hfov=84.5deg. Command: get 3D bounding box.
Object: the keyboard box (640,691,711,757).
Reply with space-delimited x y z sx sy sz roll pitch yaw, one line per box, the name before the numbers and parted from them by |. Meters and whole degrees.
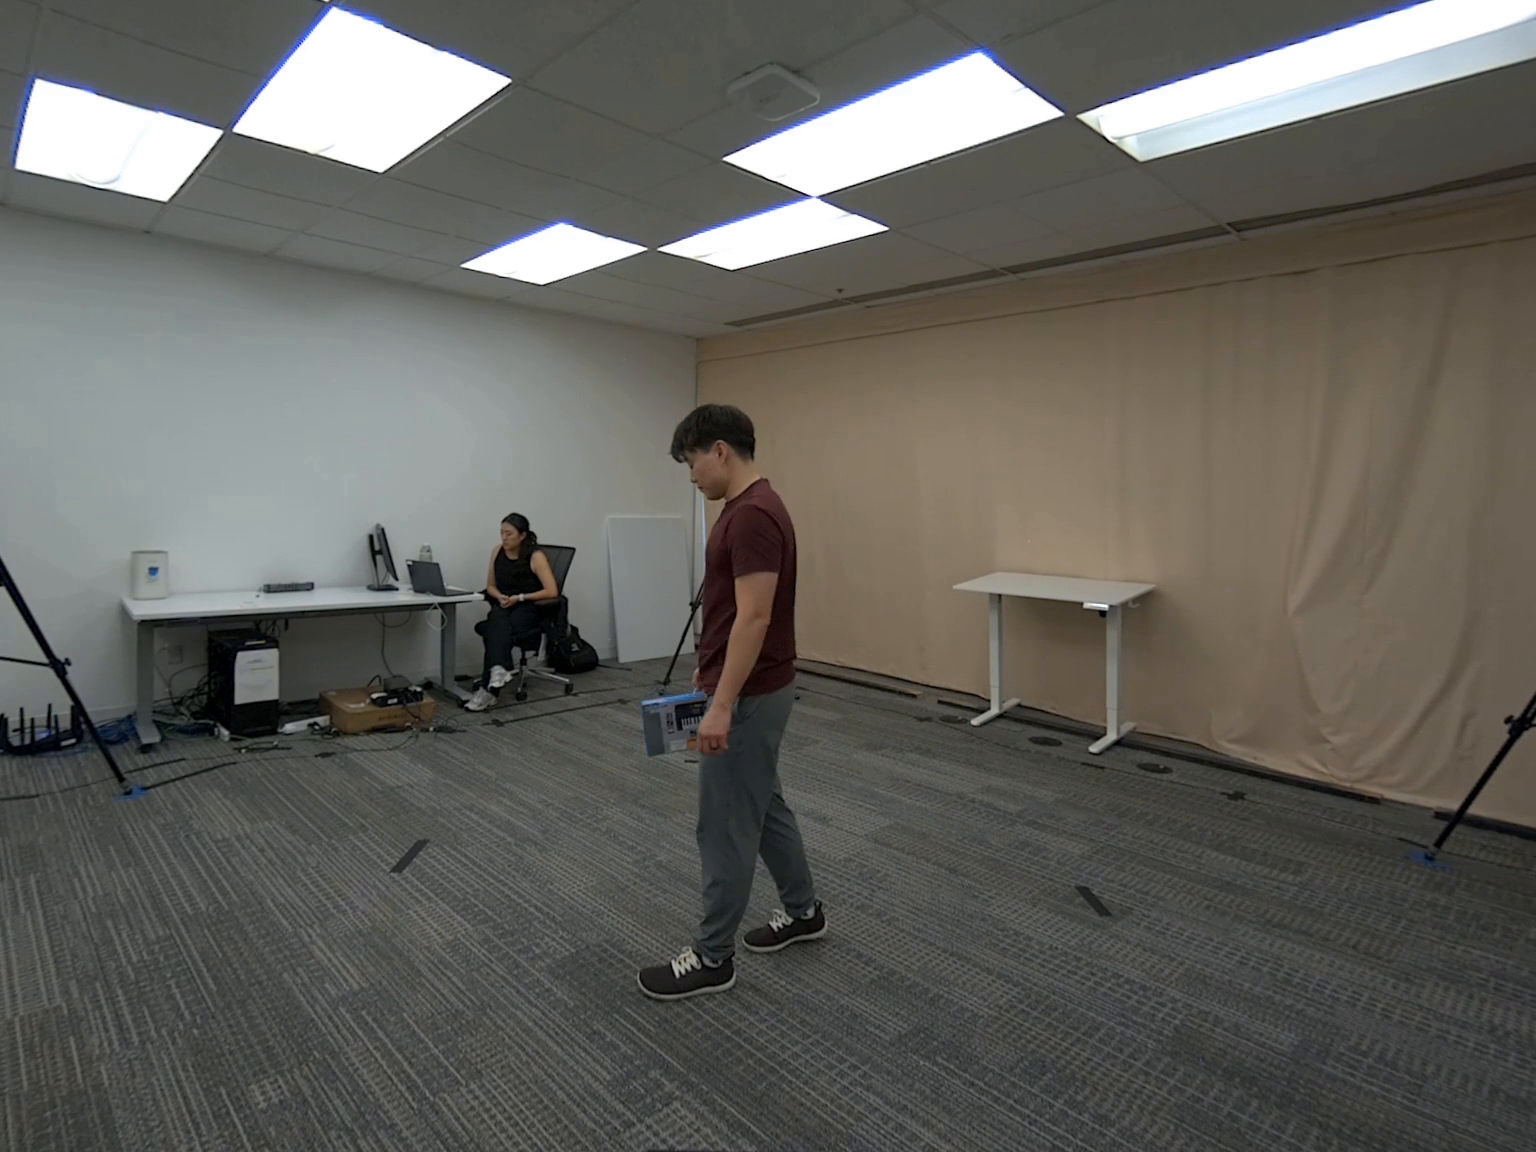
keyboard box | -0.194 0.470 2.762 0.434 0.175 0.059 -7 4 -9
